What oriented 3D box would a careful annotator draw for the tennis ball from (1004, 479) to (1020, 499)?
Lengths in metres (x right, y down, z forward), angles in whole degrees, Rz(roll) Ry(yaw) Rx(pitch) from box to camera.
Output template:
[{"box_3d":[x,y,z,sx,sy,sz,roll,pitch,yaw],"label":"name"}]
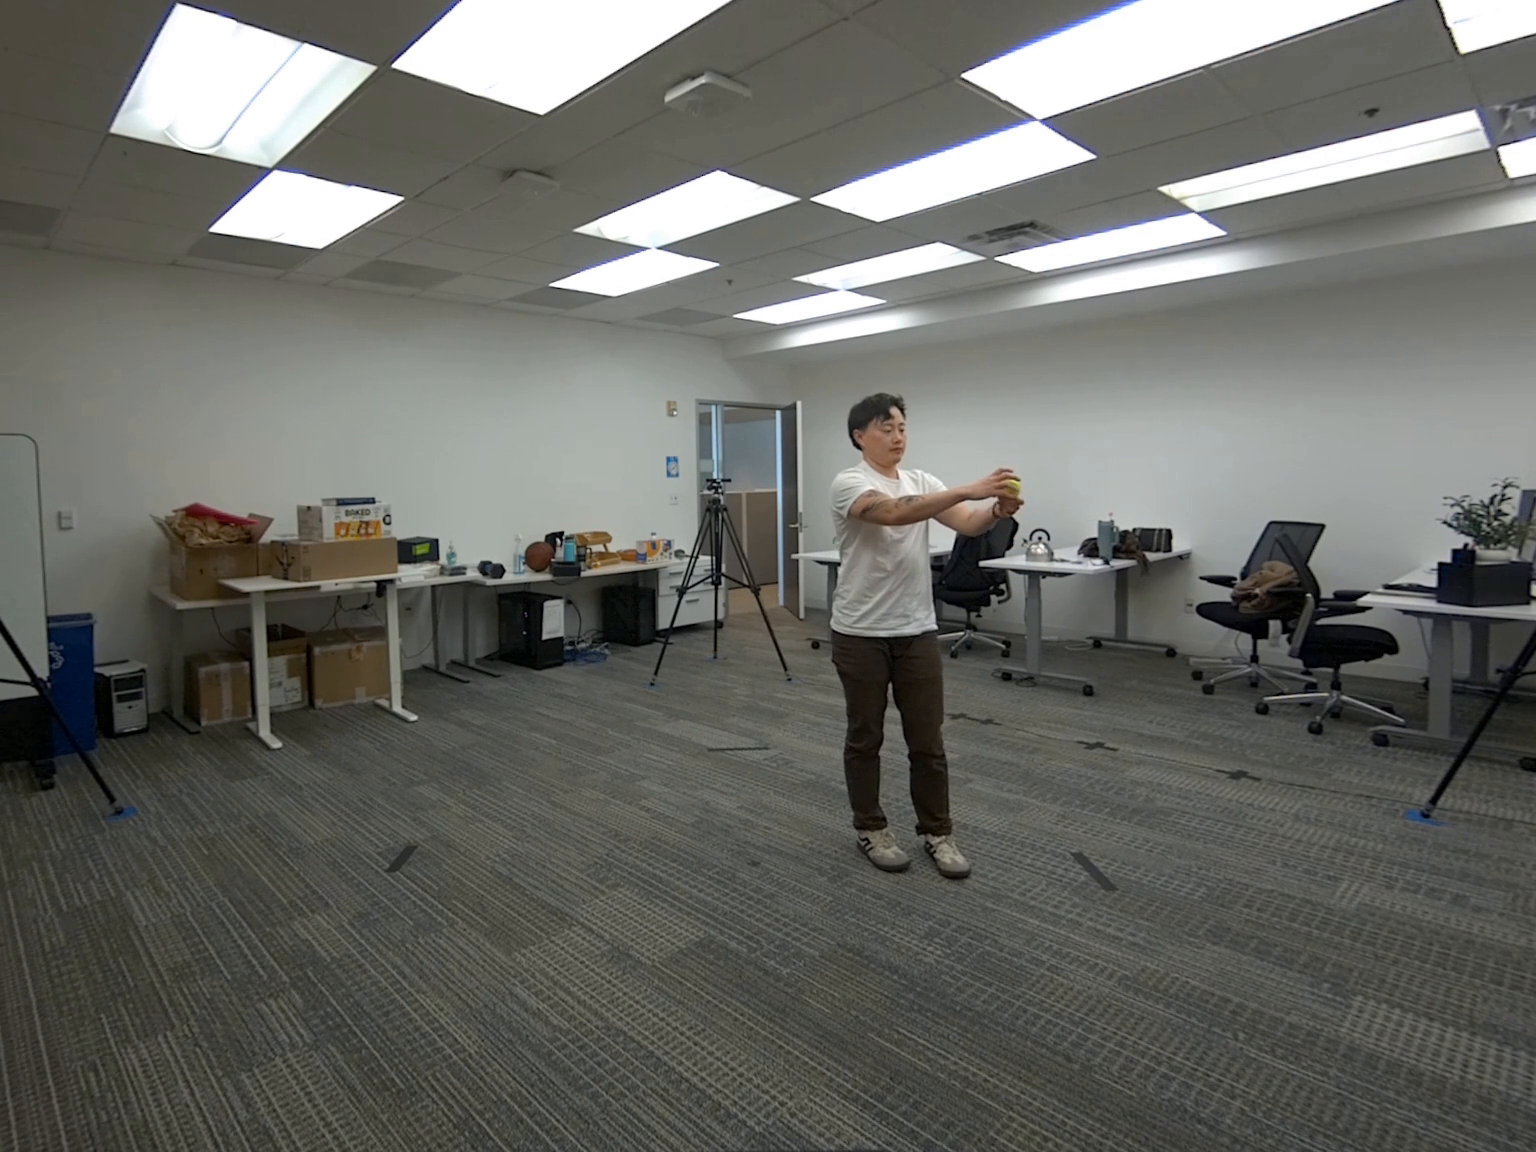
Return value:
[{"box_3d":[0.735,-0.272,2.674,0.066,0.066,0.067,-1,5,-2],"label":"tennis ball"}]
